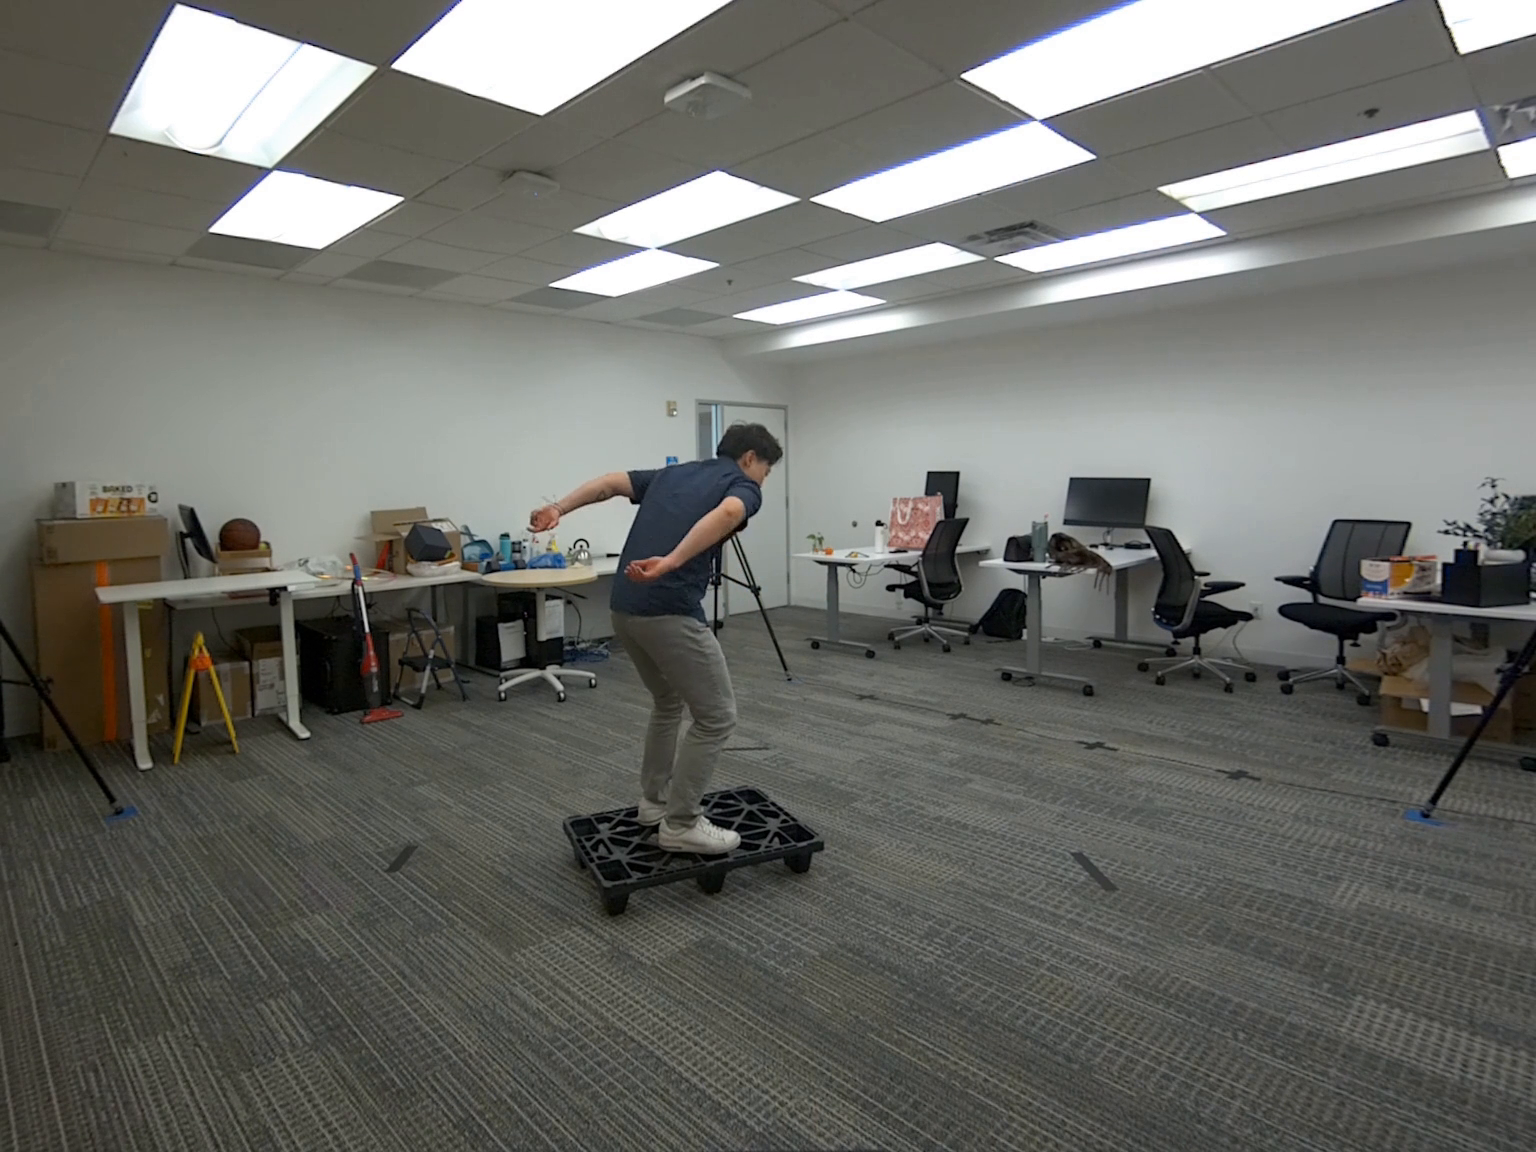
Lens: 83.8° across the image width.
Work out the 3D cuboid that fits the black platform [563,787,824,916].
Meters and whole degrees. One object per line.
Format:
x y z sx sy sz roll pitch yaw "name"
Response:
-0.288 0.982 3.101 0.789 0.143 0.620 -4 7 -24 "black platform"
